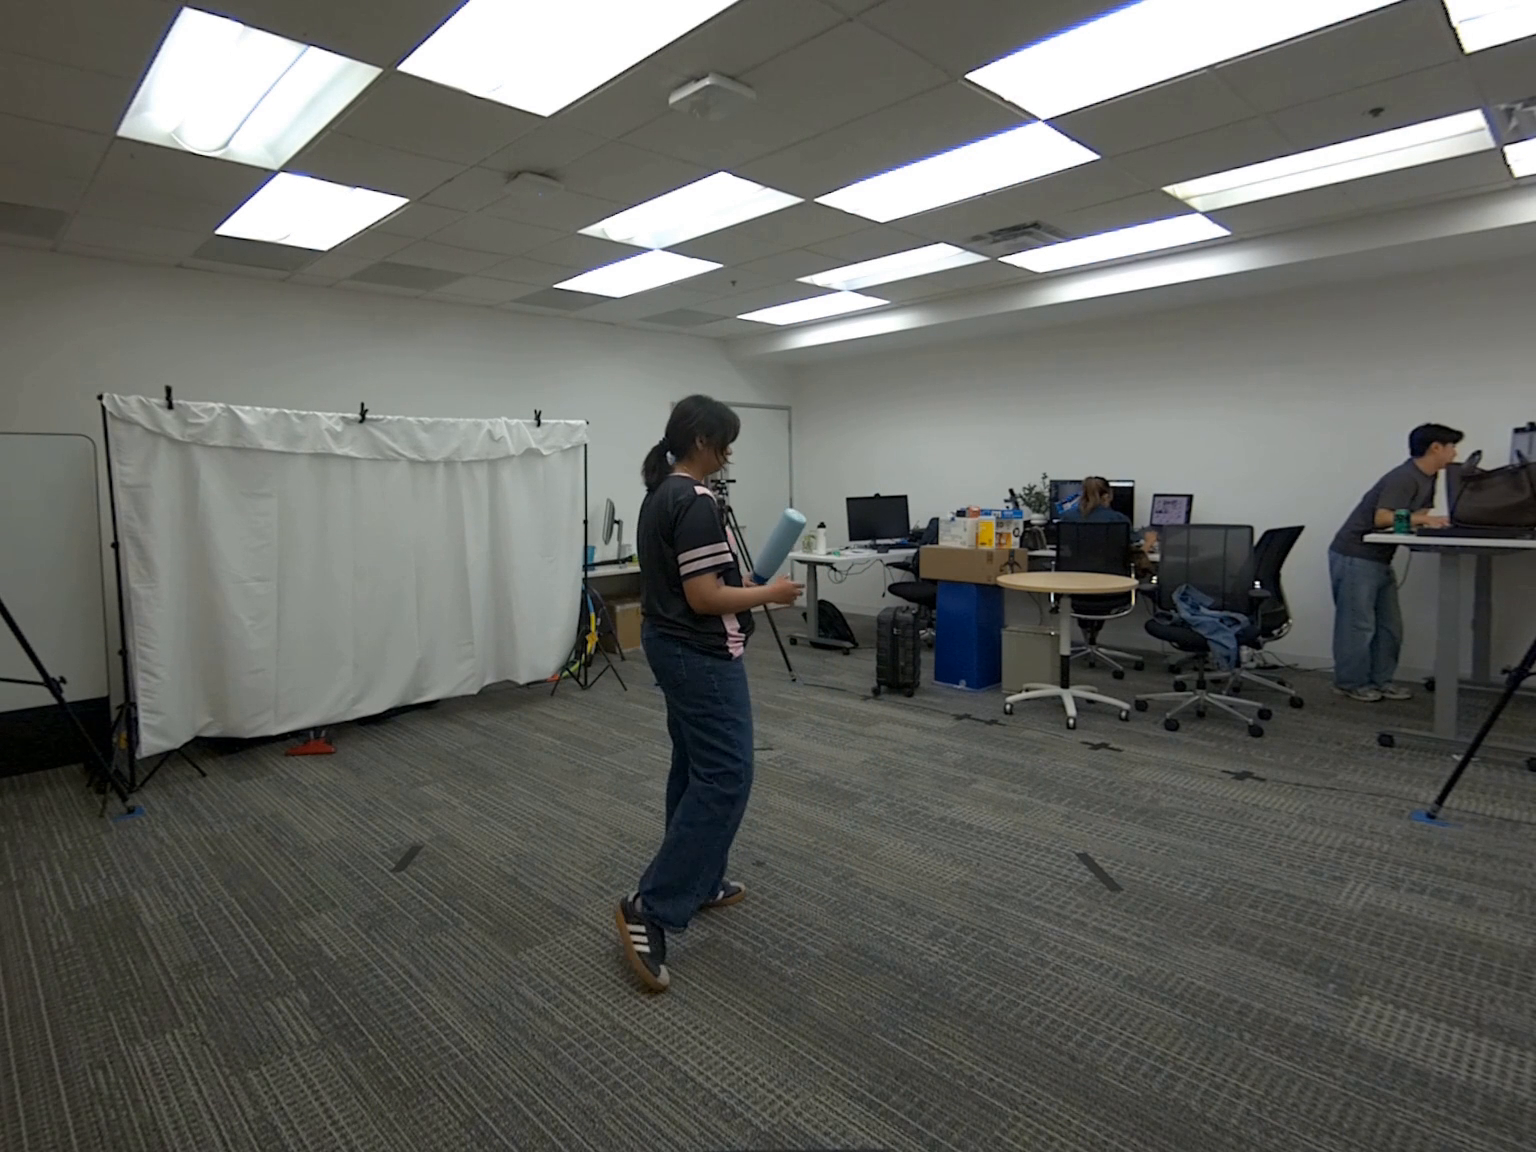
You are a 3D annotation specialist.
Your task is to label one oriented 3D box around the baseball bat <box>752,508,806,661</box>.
[{"bbox_3d":[-0.027,0.014,2.935,0.088,0.539,0.091,24,24,-13],"label":"baseball bat"}]
